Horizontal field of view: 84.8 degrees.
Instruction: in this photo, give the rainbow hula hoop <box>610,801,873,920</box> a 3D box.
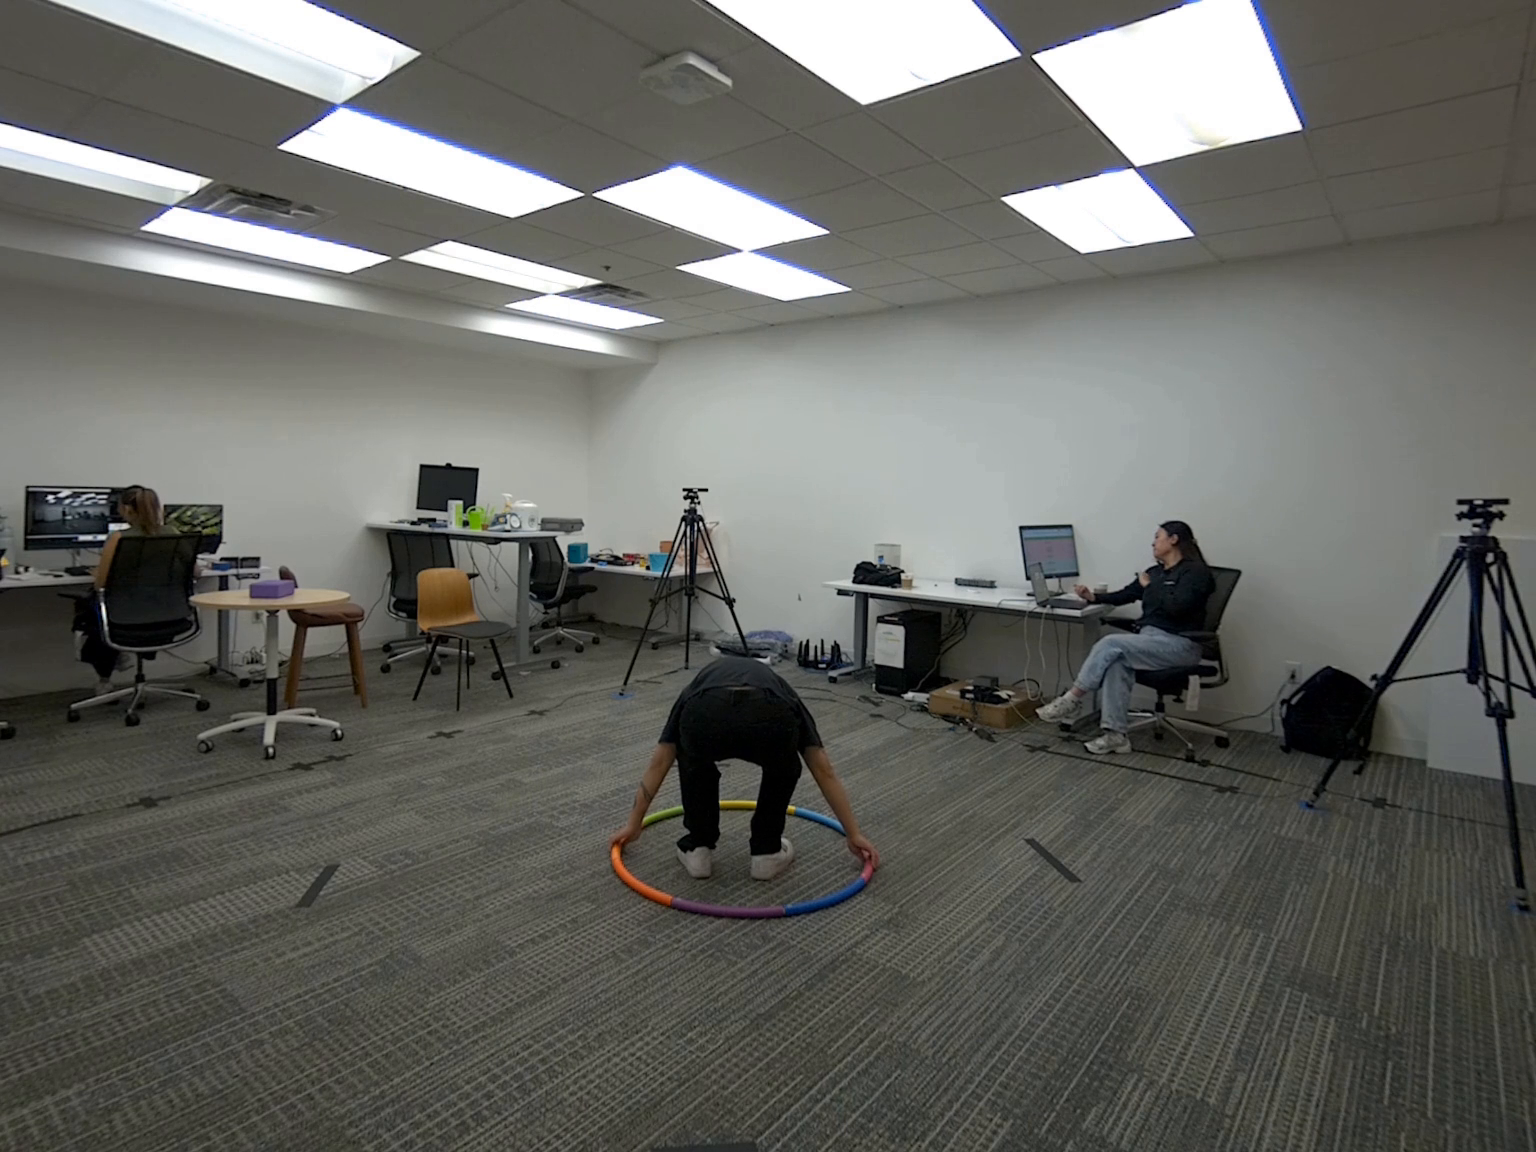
[{"bbox_3d":[-0.108,1.028,3.232,0.978,0.035,0.984,1,6,-2],"label":"rainbow hula hoop"}]
